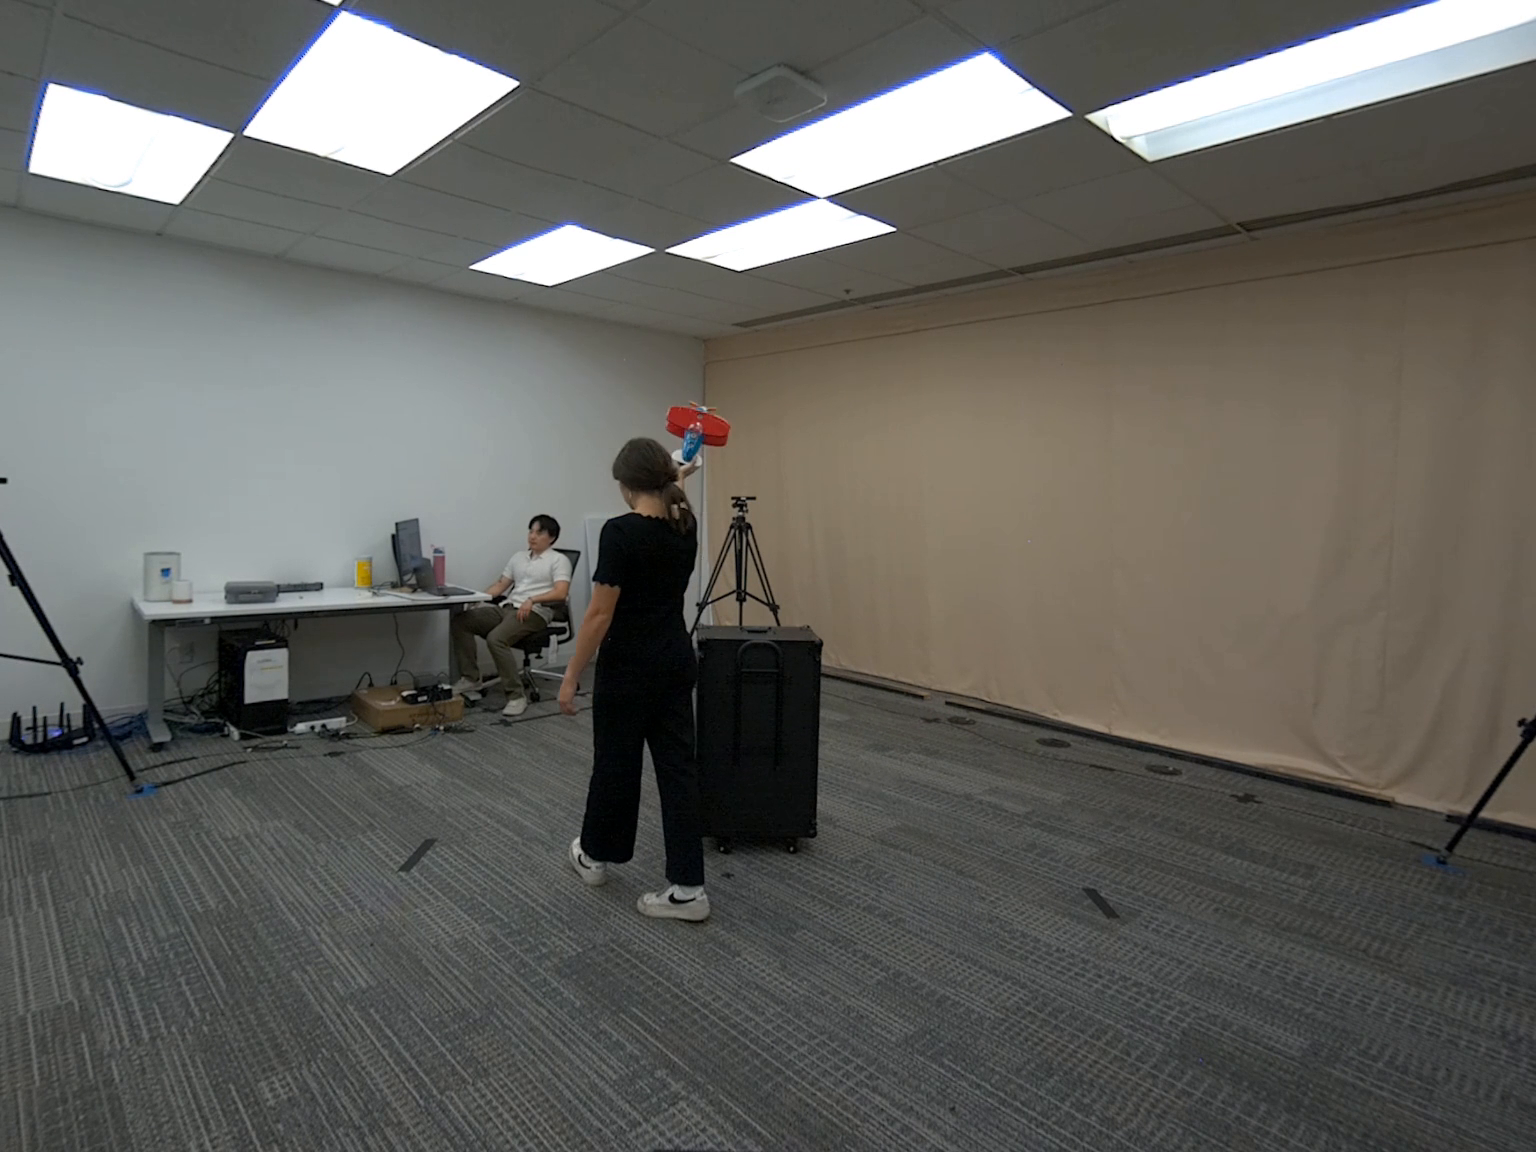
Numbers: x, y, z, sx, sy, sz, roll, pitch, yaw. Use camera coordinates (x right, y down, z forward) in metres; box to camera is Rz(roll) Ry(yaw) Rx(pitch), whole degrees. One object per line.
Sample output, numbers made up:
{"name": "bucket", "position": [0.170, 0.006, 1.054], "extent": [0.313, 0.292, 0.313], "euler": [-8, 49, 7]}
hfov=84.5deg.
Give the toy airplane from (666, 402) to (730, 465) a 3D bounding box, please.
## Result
{"name": "toy airplane", "position": [-0.289, -0.557, 3.359], "extent": [0.248, 0.266, 0.154], "euler": [-8, -34, -16]}
